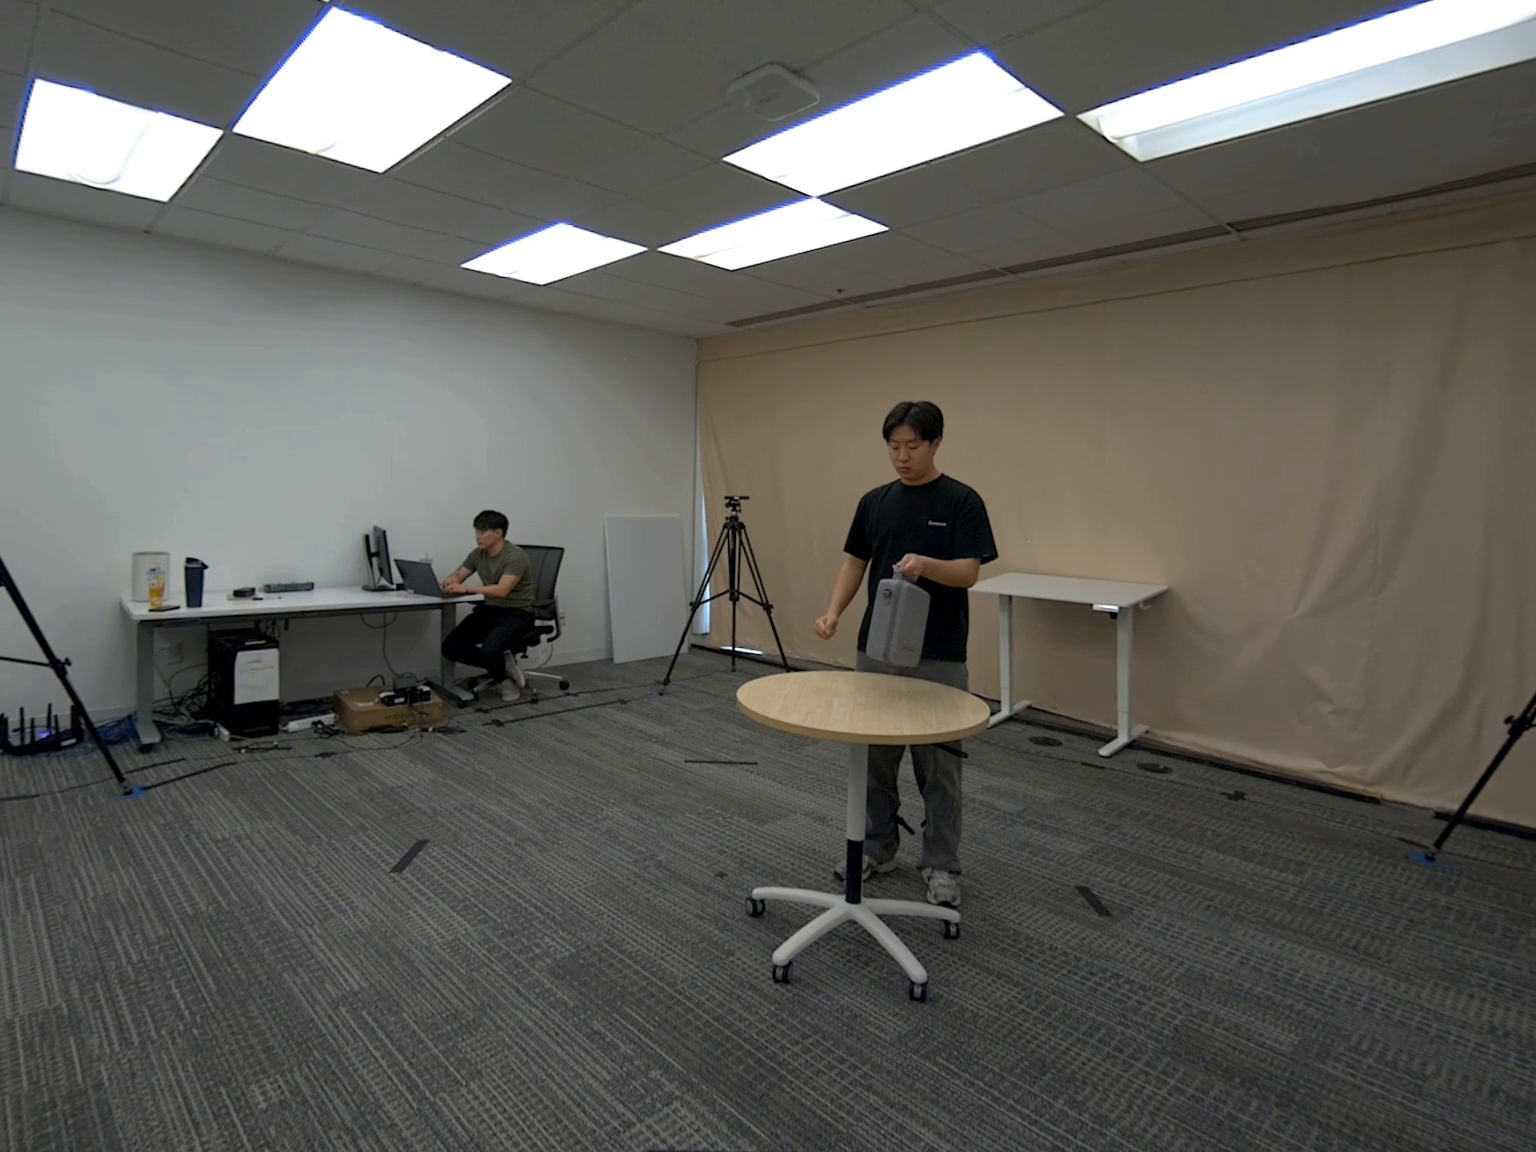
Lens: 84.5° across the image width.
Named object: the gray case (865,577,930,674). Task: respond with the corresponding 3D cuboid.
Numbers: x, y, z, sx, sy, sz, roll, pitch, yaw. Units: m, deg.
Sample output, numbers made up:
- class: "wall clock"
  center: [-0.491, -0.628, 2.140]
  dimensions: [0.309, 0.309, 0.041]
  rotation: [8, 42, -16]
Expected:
- class: "gray case"
  center: [0.407, 0.145, 2.642]
  dimensions: [0.105, 0.288, 0.257]
  rotation: [6, -6, 26]
